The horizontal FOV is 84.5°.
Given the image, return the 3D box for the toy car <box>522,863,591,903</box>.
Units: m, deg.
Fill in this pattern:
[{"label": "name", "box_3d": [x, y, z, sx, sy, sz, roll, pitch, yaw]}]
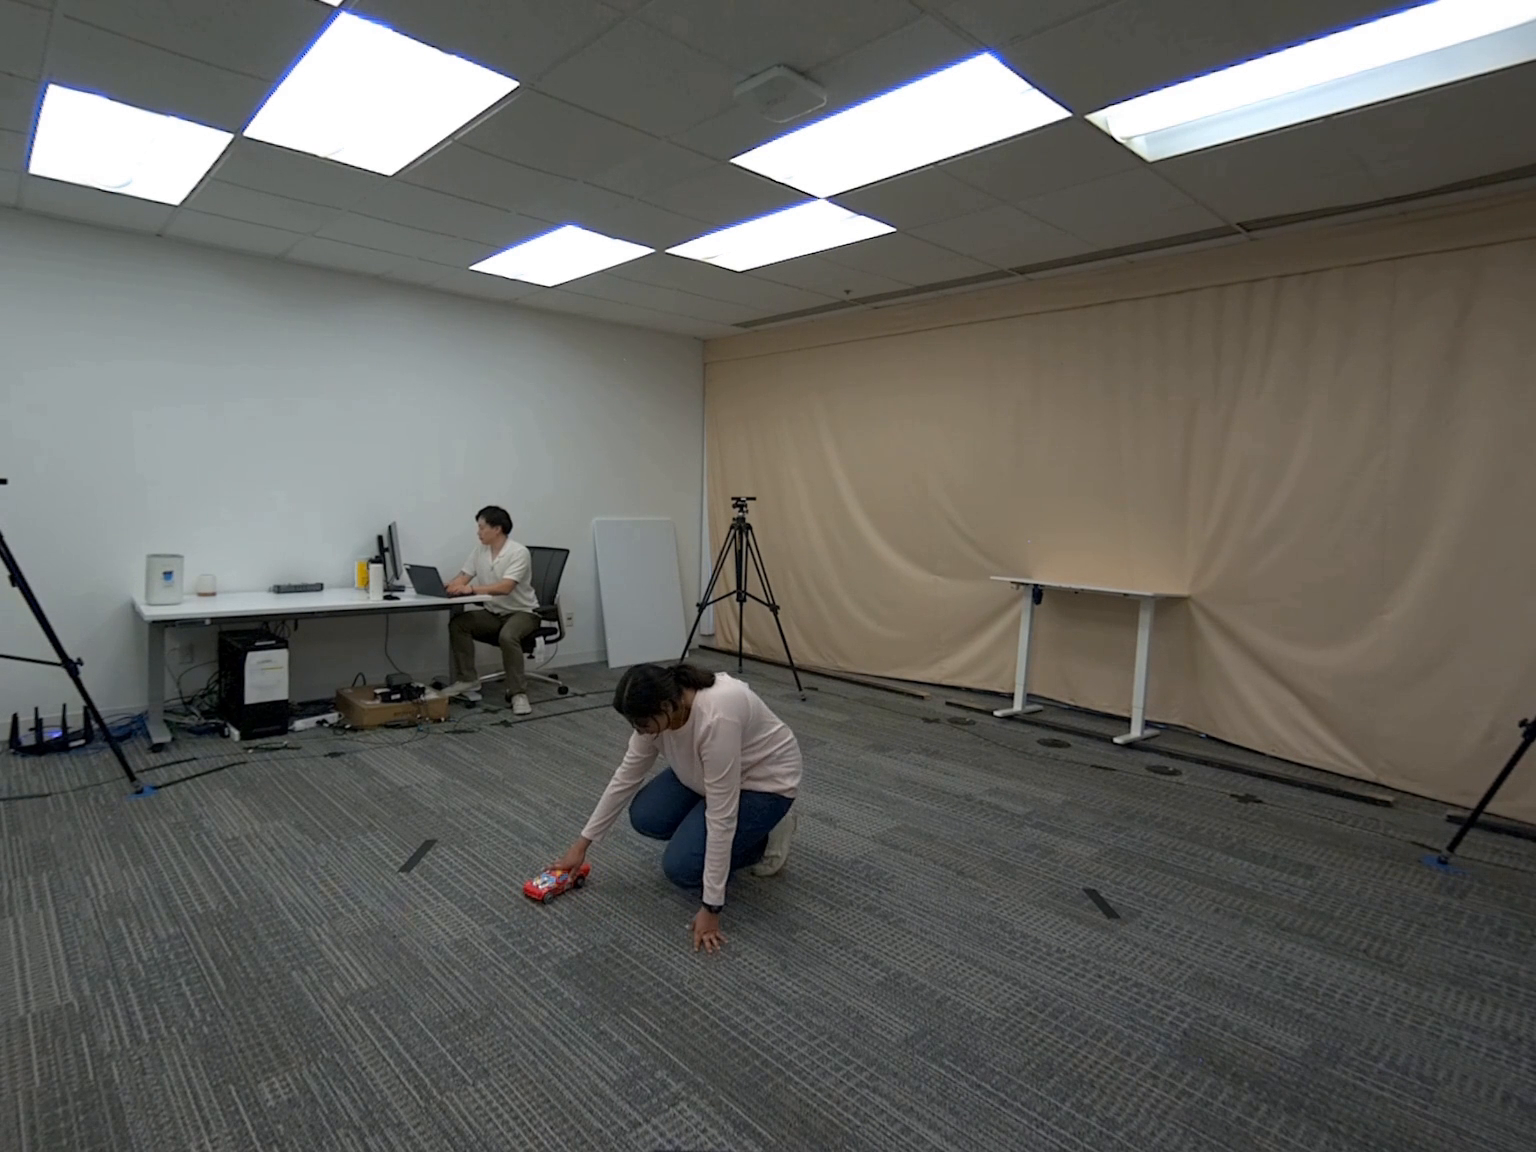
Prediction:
[{"label": "toy car", "box_3d": [-0.741, 1.070, 2.974, 0.133, 0.082, 0.251, 2, 15, 35]}]
